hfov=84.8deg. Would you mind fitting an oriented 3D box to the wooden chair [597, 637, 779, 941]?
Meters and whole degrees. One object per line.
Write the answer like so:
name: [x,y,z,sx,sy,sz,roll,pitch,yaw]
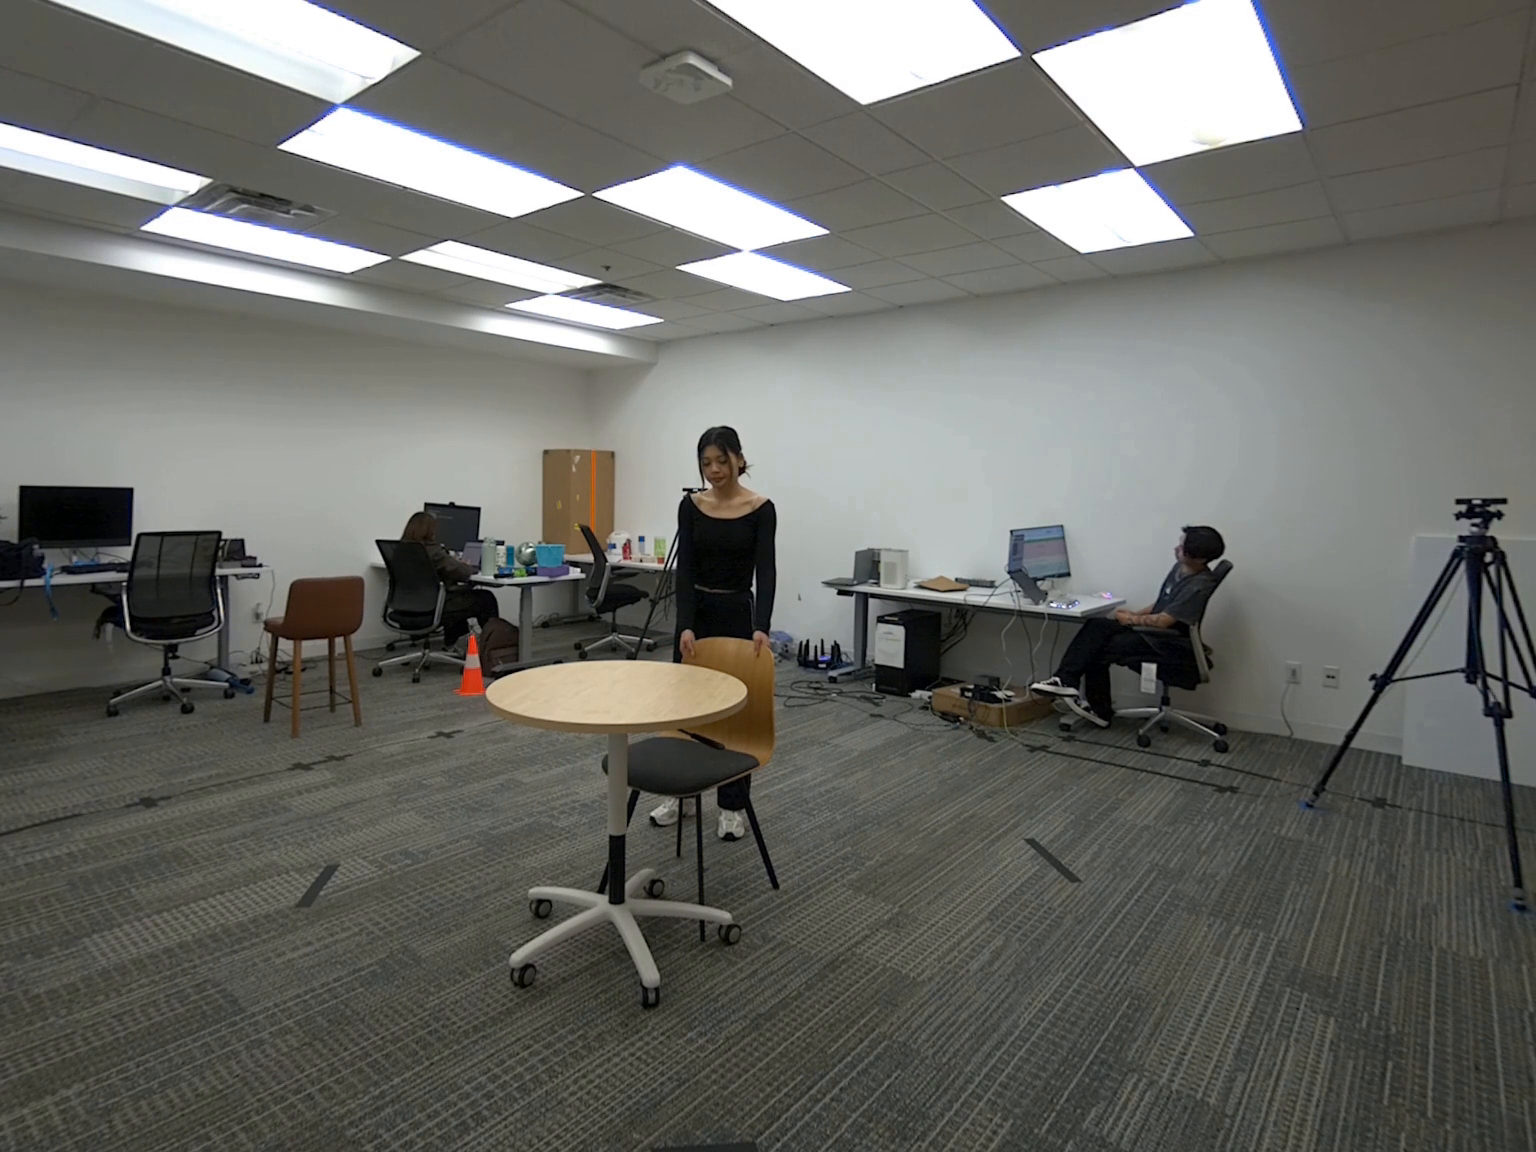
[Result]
wooden chair: [-0.267,0.661,2.884,0.493,0.878,0.506,4,0,34]
